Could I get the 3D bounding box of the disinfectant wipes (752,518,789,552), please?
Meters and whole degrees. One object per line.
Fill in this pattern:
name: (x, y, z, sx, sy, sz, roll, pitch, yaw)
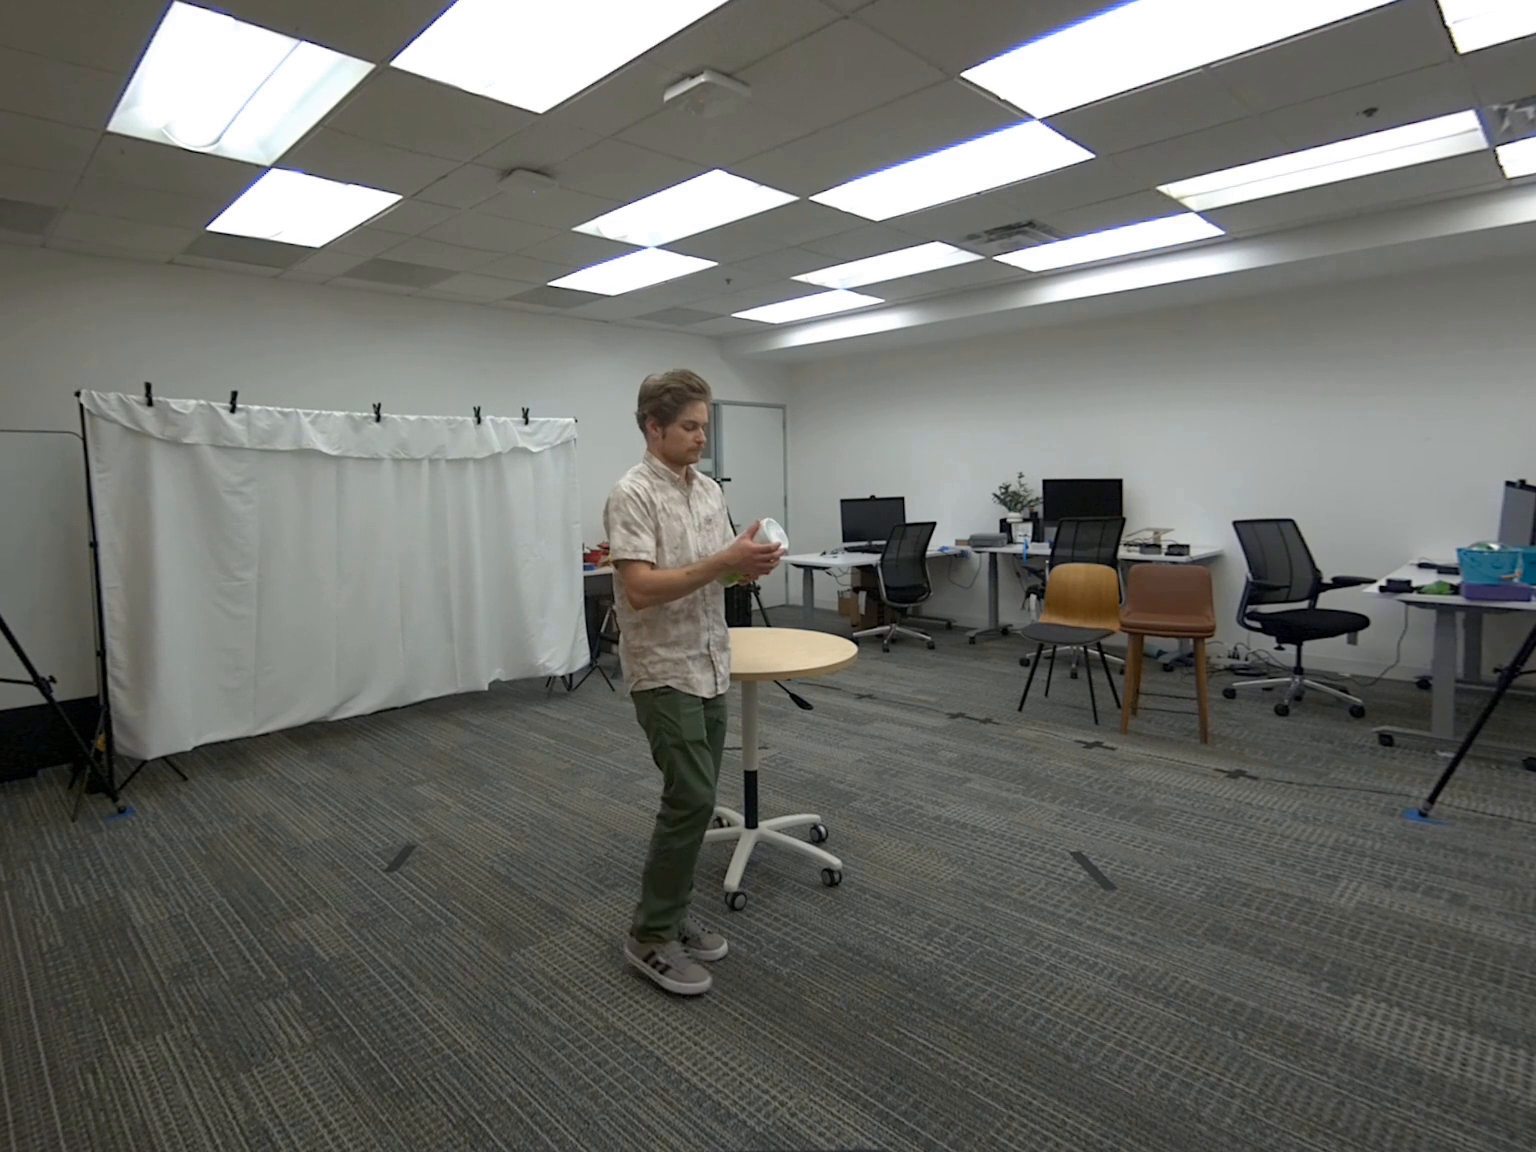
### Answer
disinfectant wipes: (-0.053, -0.067, 2.369, 0.219, 0.119, 0.116, -32, -6, 20)
